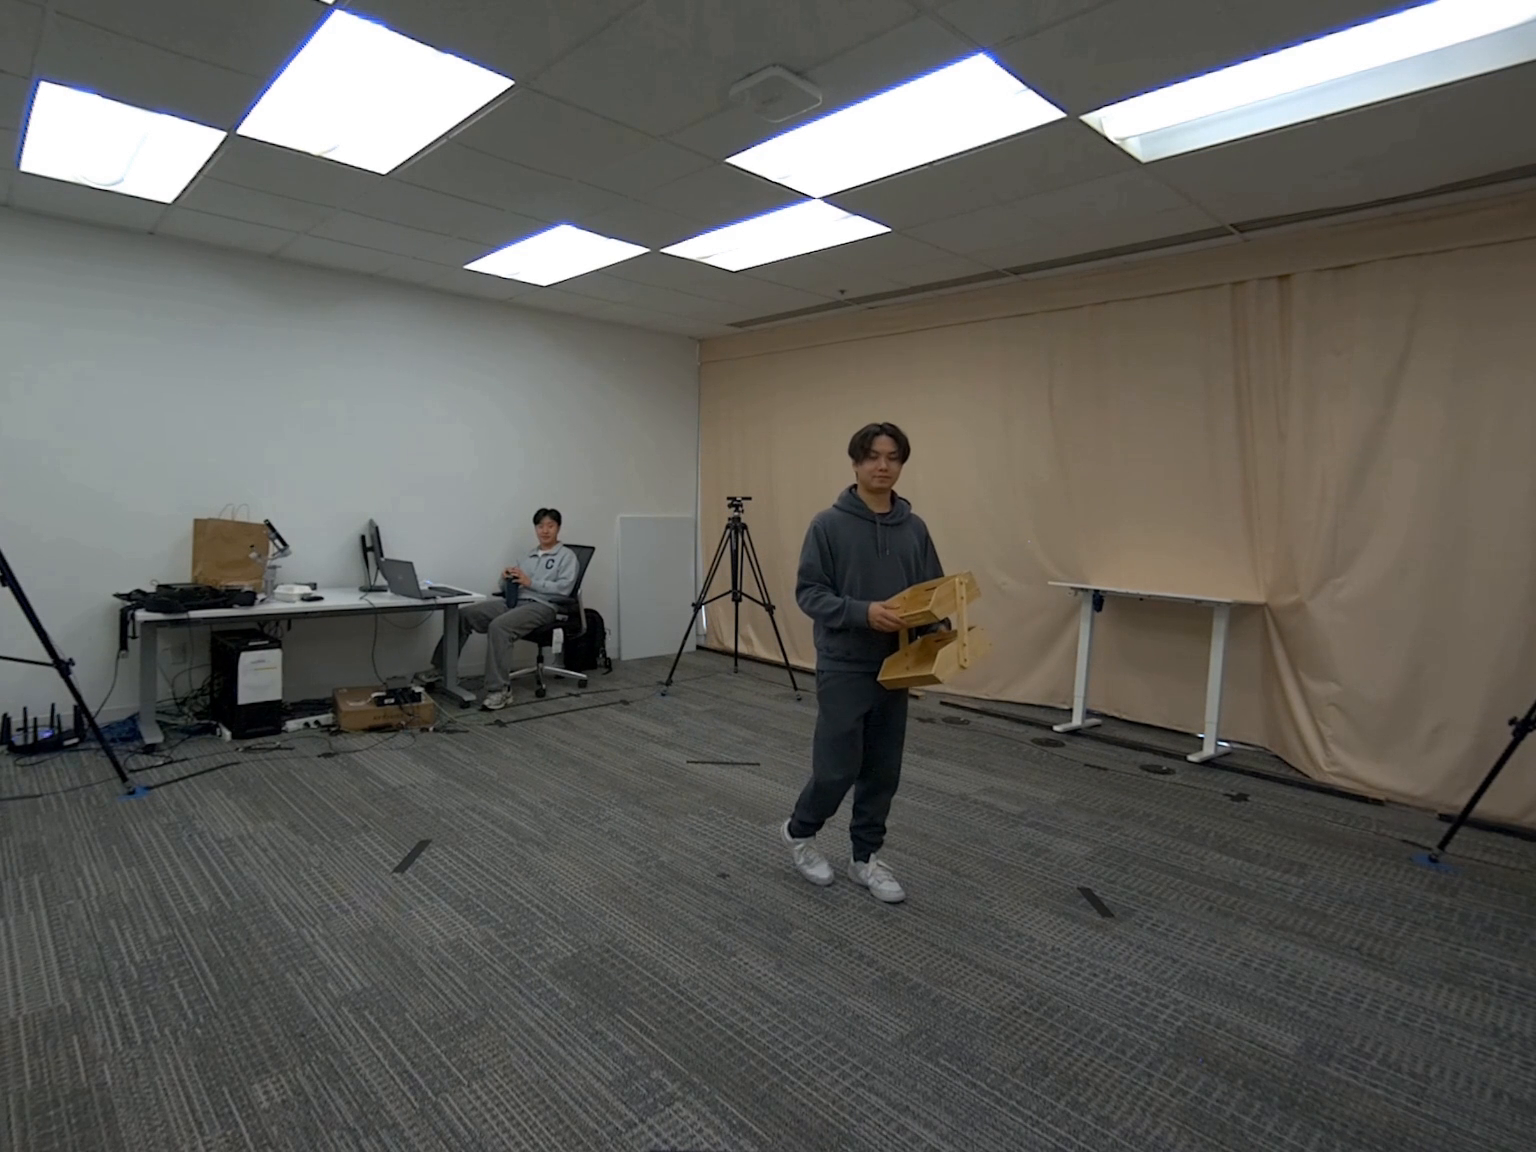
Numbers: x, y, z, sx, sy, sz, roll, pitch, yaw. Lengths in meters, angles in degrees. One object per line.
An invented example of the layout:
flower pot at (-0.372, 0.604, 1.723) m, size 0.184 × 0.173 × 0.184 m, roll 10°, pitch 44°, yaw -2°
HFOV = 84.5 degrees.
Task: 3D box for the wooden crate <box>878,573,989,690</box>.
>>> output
wooden crate at (0.490, 0.179, 2.727) m, size 0.299 × 0.273 × 0.327 m, roll -26°, pitch 1°, yaw -29°
